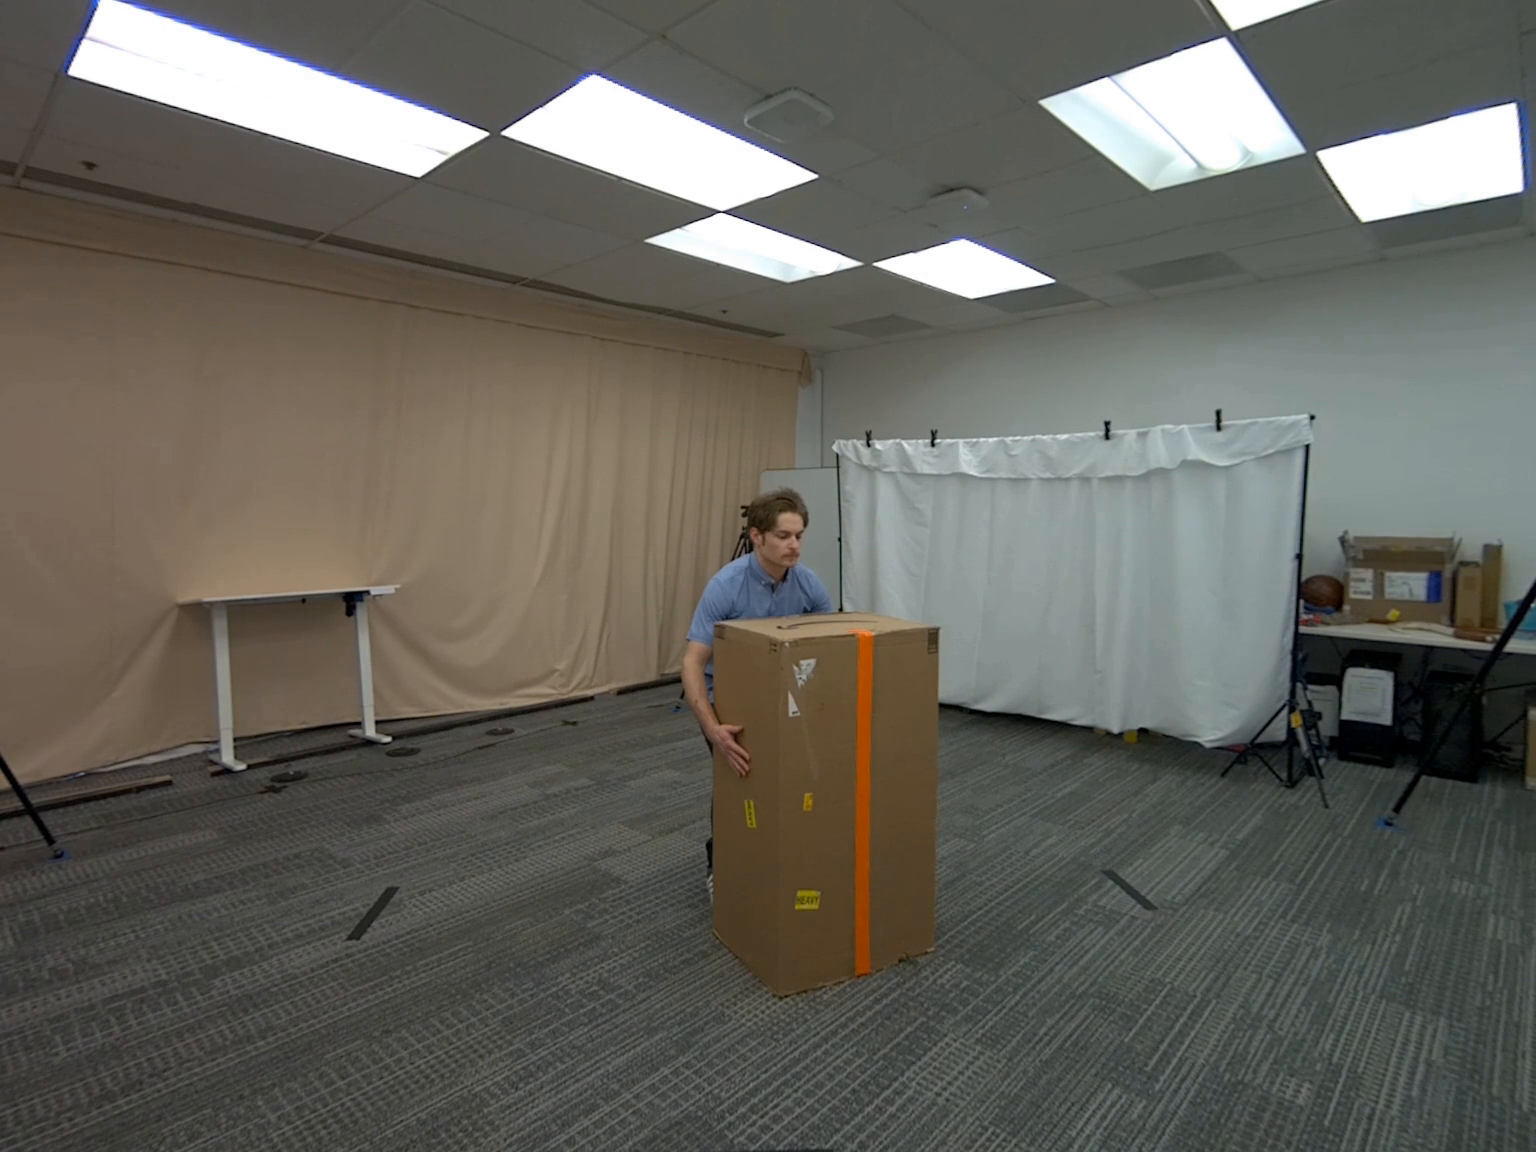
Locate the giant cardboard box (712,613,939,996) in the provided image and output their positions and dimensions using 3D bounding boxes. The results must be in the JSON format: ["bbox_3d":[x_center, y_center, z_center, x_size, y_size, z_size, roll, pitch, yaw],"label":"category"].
[{"bbox_3d":[0.184,0.660,2.662,0.562,1.024,0.438,-2,3,-29],"label":"giant cardboard box"}]
